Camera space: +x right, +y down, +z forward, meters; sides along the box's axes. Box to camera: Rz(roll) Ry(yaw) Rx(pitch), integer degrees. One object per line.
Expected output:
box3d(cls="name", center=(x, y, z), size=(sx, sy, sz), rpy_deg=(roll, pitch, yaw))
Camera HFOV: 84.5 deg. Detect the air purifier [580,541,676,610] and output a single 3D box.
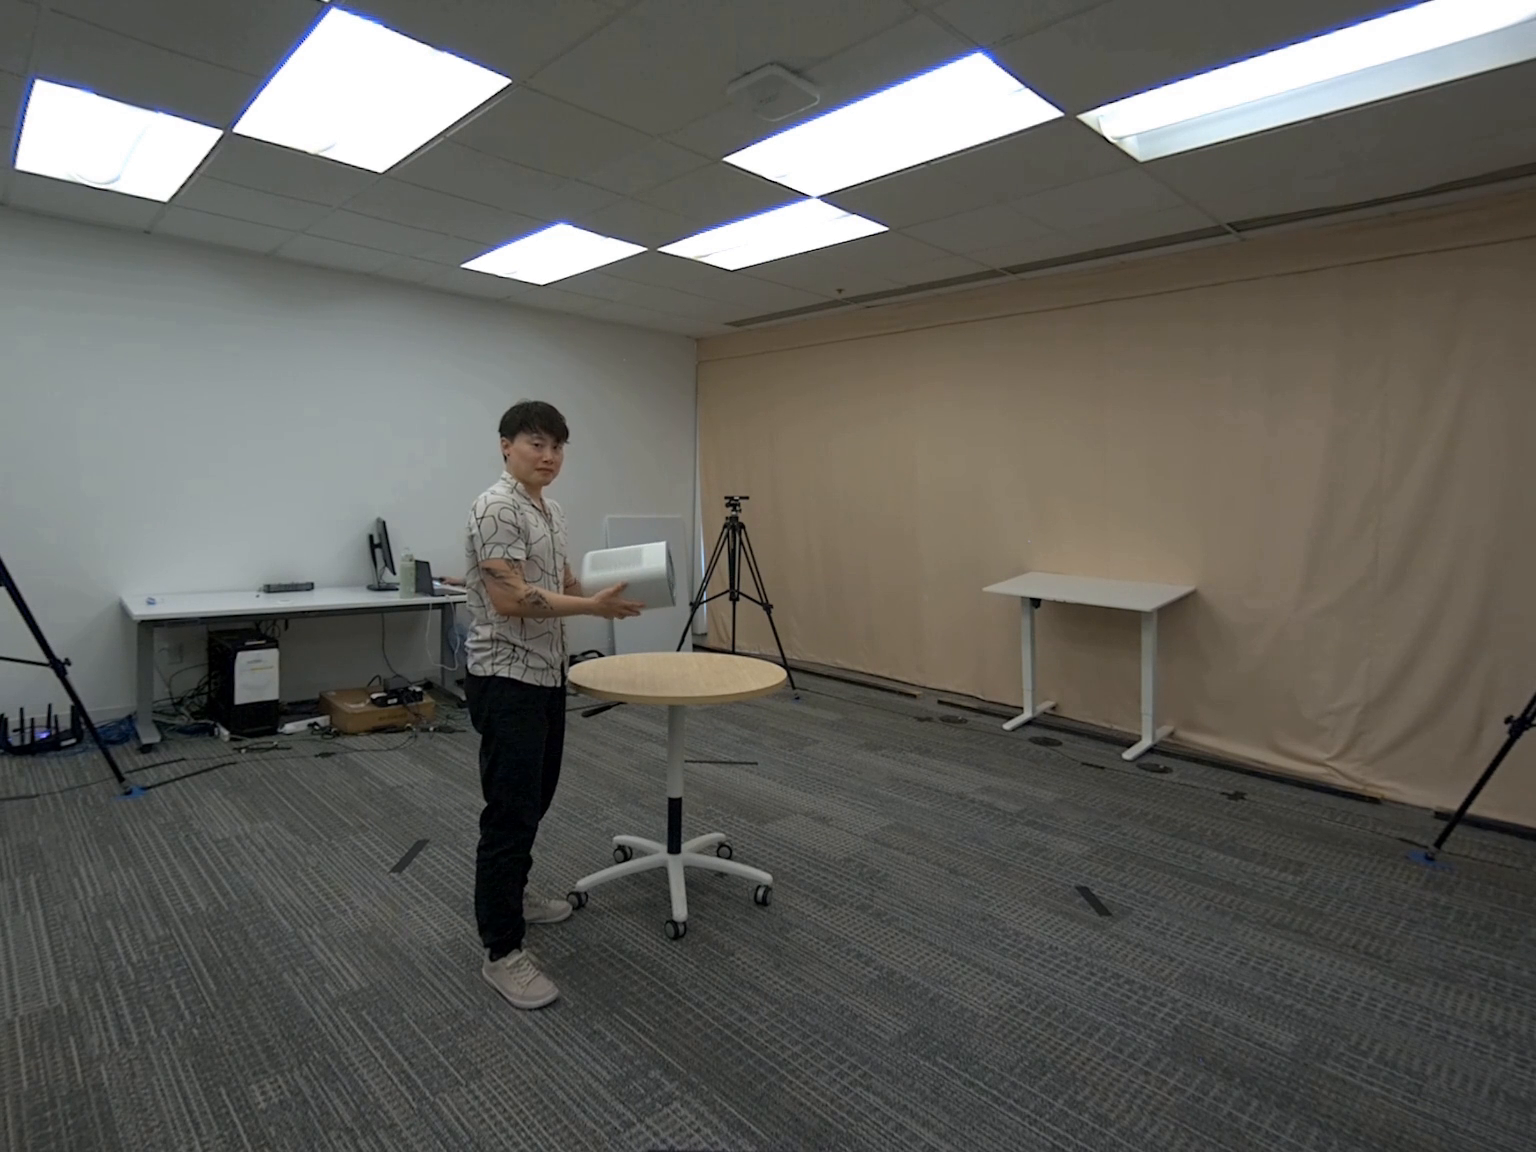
box3d(cls="air purifier", center=(-0.432, 0.007, 2.533), size=(0.266, 0.167, 0.175), rpy_deg=(-7, 38, 1))
